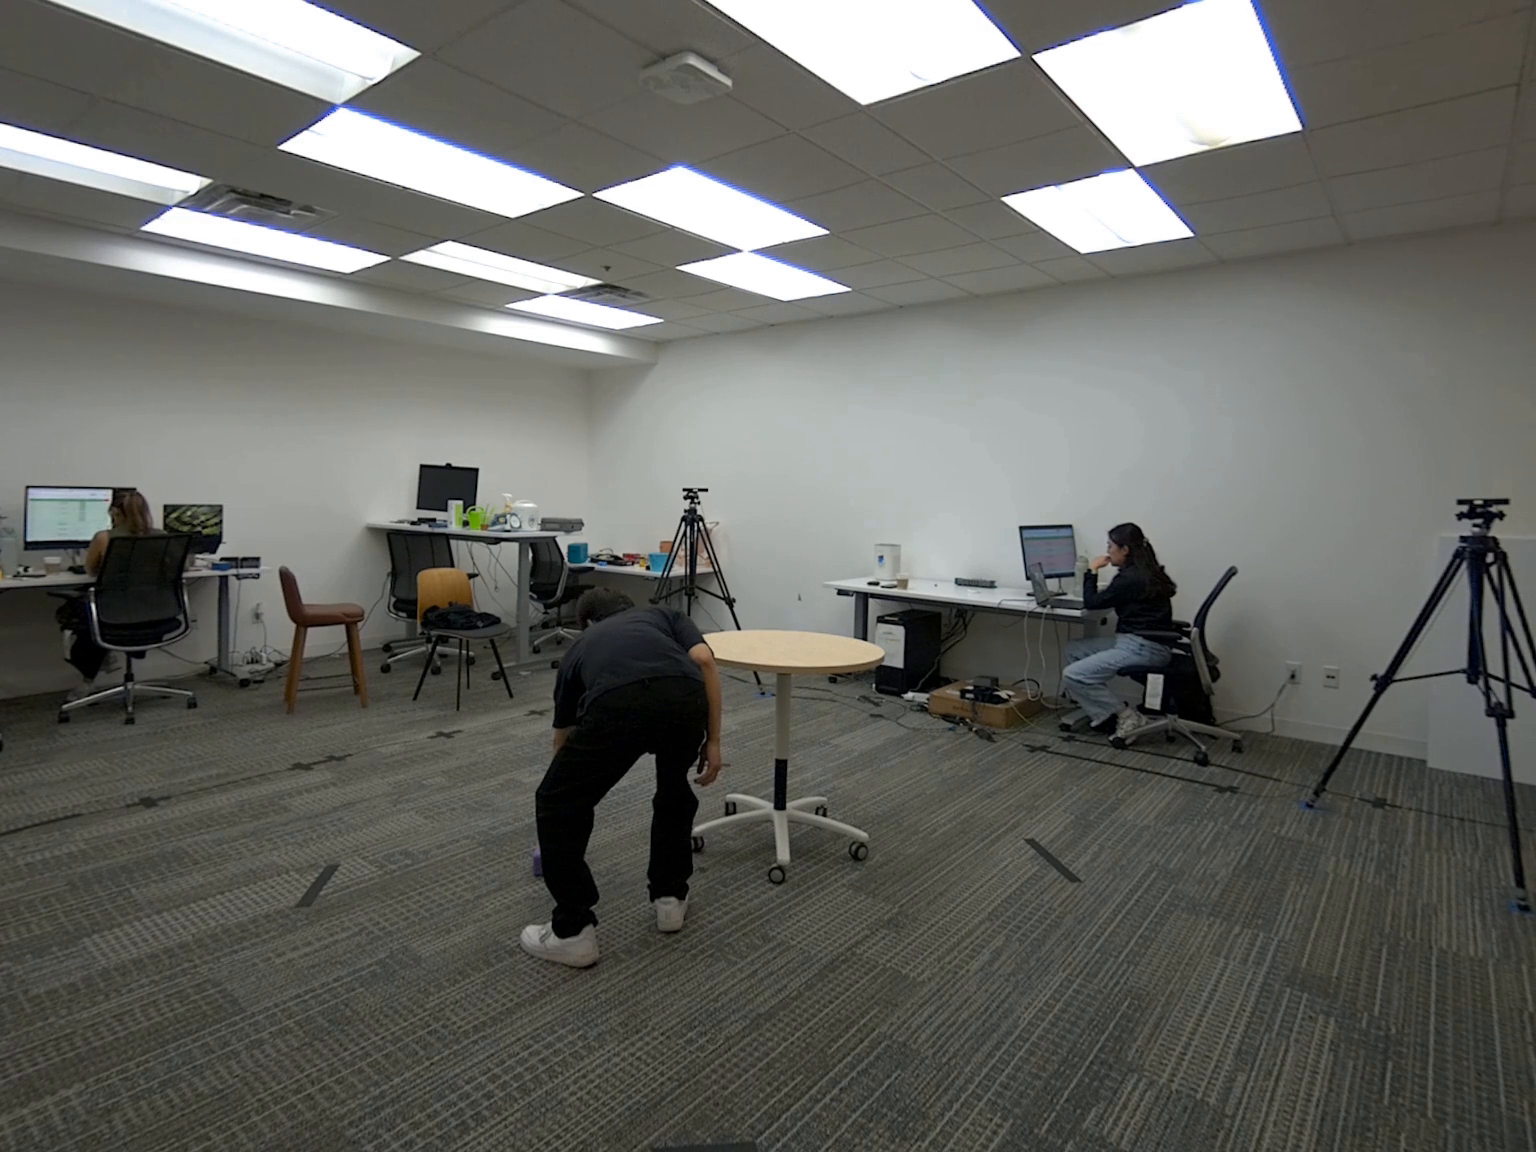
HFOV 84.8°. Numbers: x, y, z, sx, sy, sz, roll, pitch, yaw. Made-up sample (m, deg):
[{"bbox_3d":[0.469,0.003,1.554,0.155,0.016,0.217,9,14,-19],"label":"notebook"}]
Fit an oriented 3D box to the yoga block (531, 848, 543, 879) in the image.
[{"bbox_3d":[-0.787,1.014,3.133,0.148,0.076,0.232,1,5,-8],"label":"yoga block"}]
